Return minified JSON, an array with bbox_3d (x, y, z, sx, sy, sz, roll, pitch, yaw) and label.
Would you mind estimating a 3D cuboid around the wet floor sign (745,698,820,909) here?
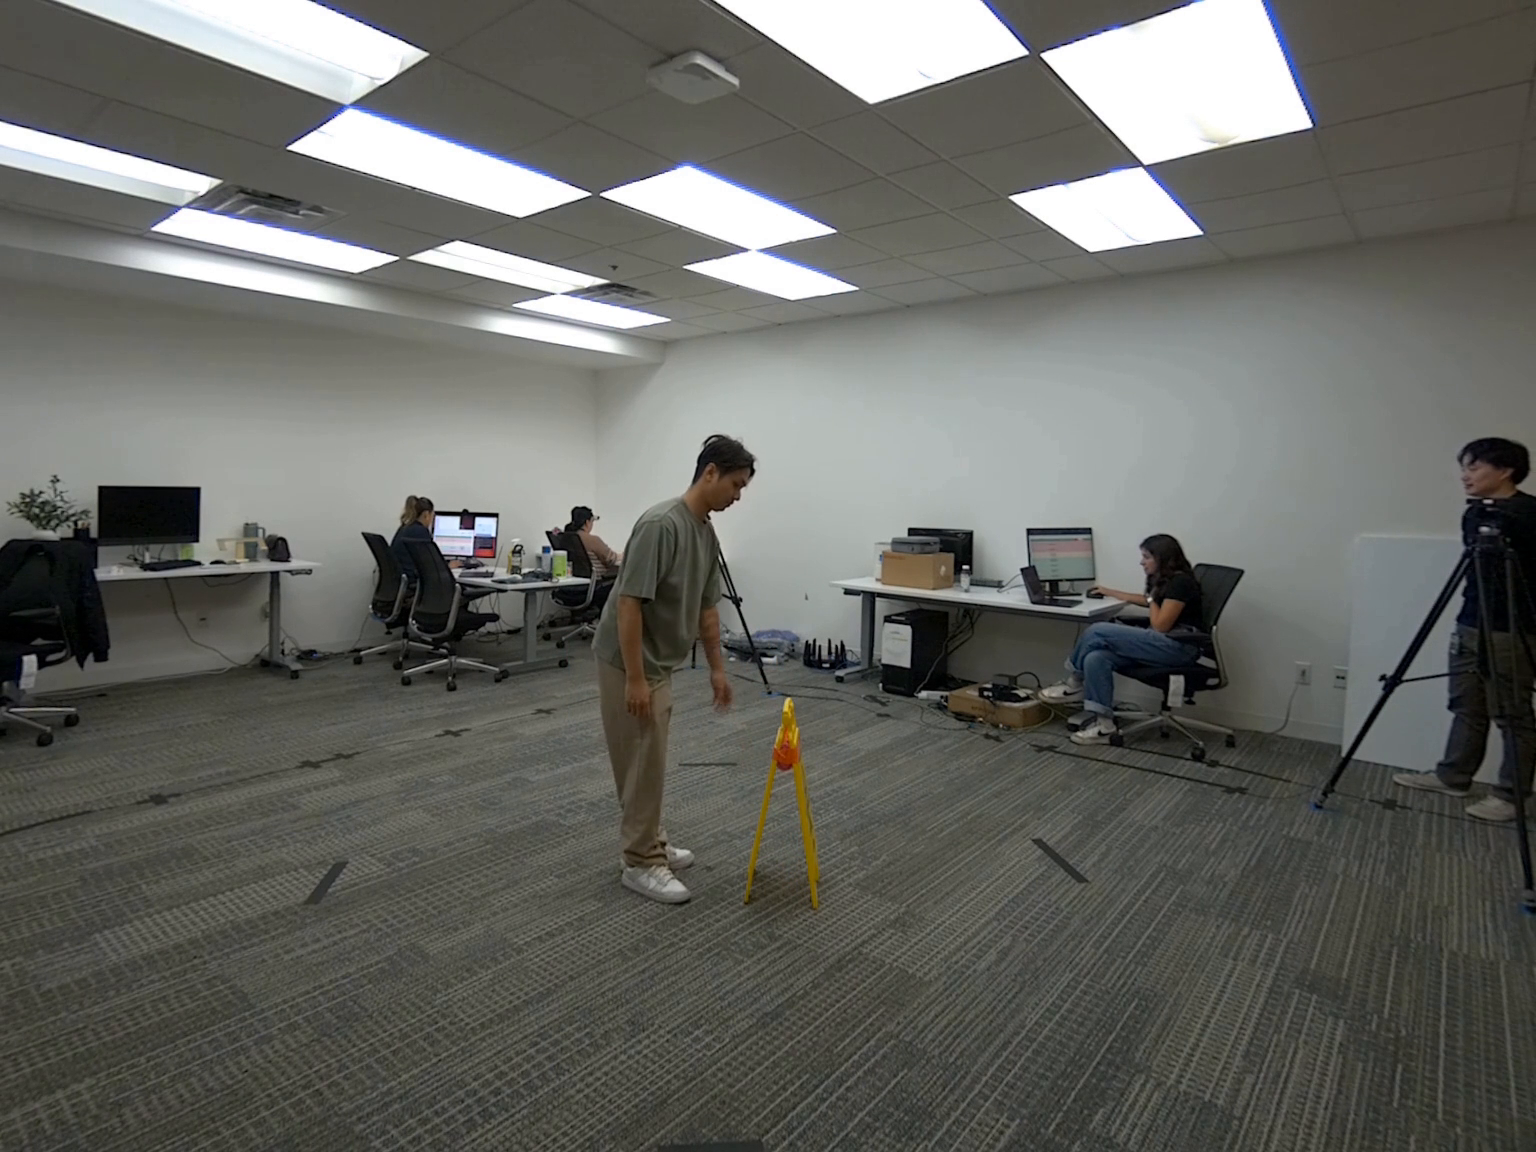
[{"bbox_3d":[0.057,0.768,2.957,0.292,0.644,0.281,3,4,6],"label":"wet floor sign"}]
